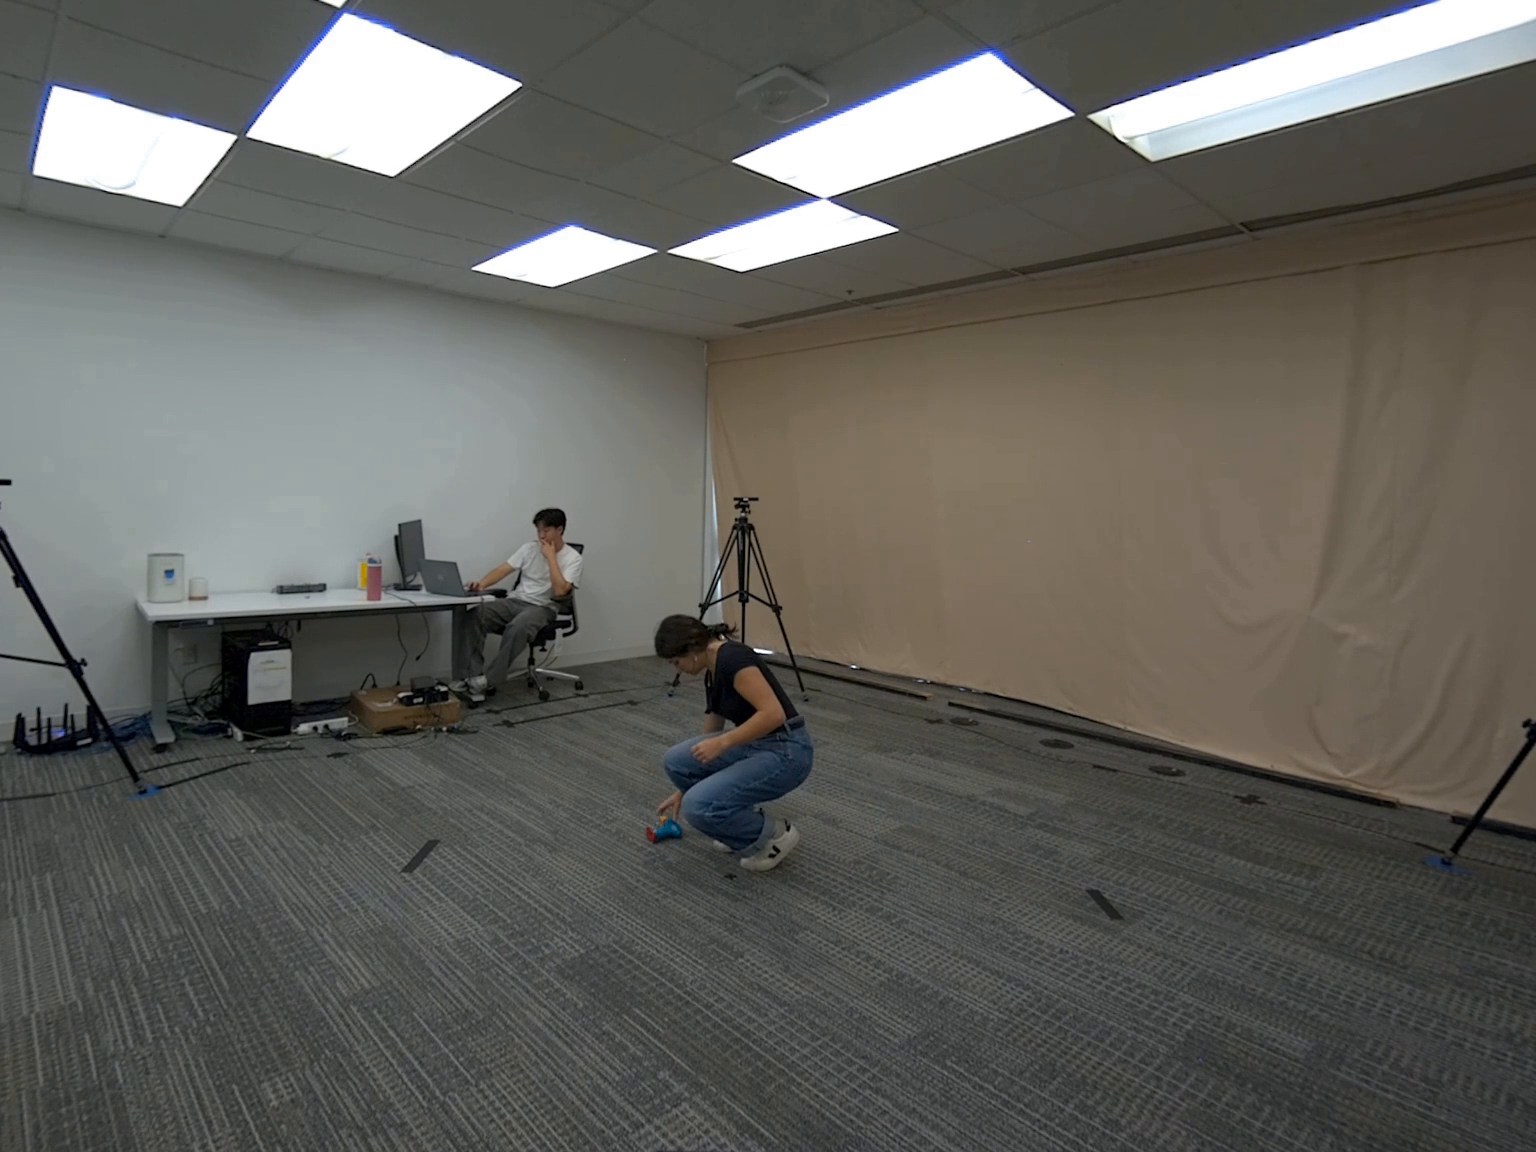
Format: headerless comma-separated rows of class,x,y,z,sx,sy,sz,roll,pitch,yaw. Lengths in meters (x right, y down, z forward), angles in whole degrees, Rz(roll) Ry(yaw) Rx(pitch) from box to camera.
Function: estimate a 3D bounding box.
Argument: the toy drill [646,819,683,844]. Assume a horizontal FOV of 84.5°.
toy drill,-0.448,1.039,3.474,0.143,0.061,0.174,-2,13,-32
